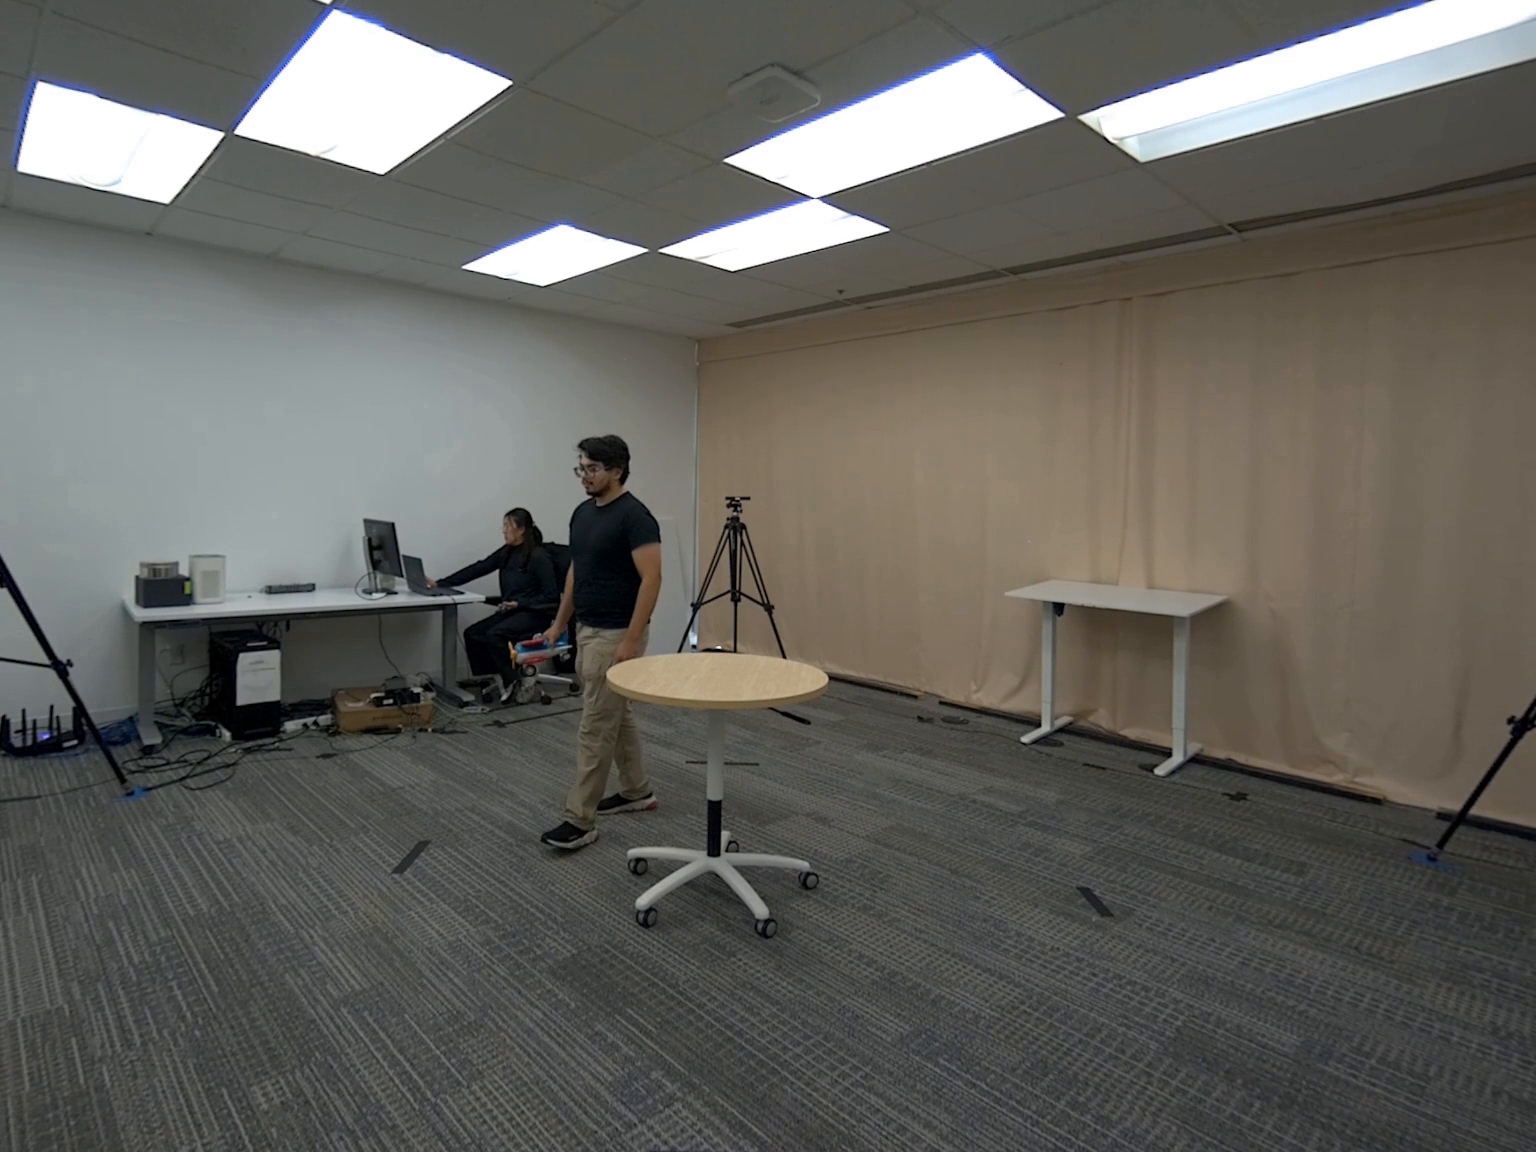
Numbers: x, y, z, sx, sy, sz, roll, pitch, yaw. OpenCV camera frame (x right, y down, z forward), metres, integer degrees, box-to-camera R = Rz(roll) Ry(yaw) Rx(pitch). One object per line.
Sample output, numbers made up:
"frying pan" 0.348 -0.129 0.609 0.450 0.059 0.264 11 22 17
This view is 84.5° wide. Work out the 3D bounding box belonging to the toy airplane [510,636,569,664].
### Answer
"toy airplane" -1.015 0.338 3.726 0.254 0.156 0.256 -18 4 33
